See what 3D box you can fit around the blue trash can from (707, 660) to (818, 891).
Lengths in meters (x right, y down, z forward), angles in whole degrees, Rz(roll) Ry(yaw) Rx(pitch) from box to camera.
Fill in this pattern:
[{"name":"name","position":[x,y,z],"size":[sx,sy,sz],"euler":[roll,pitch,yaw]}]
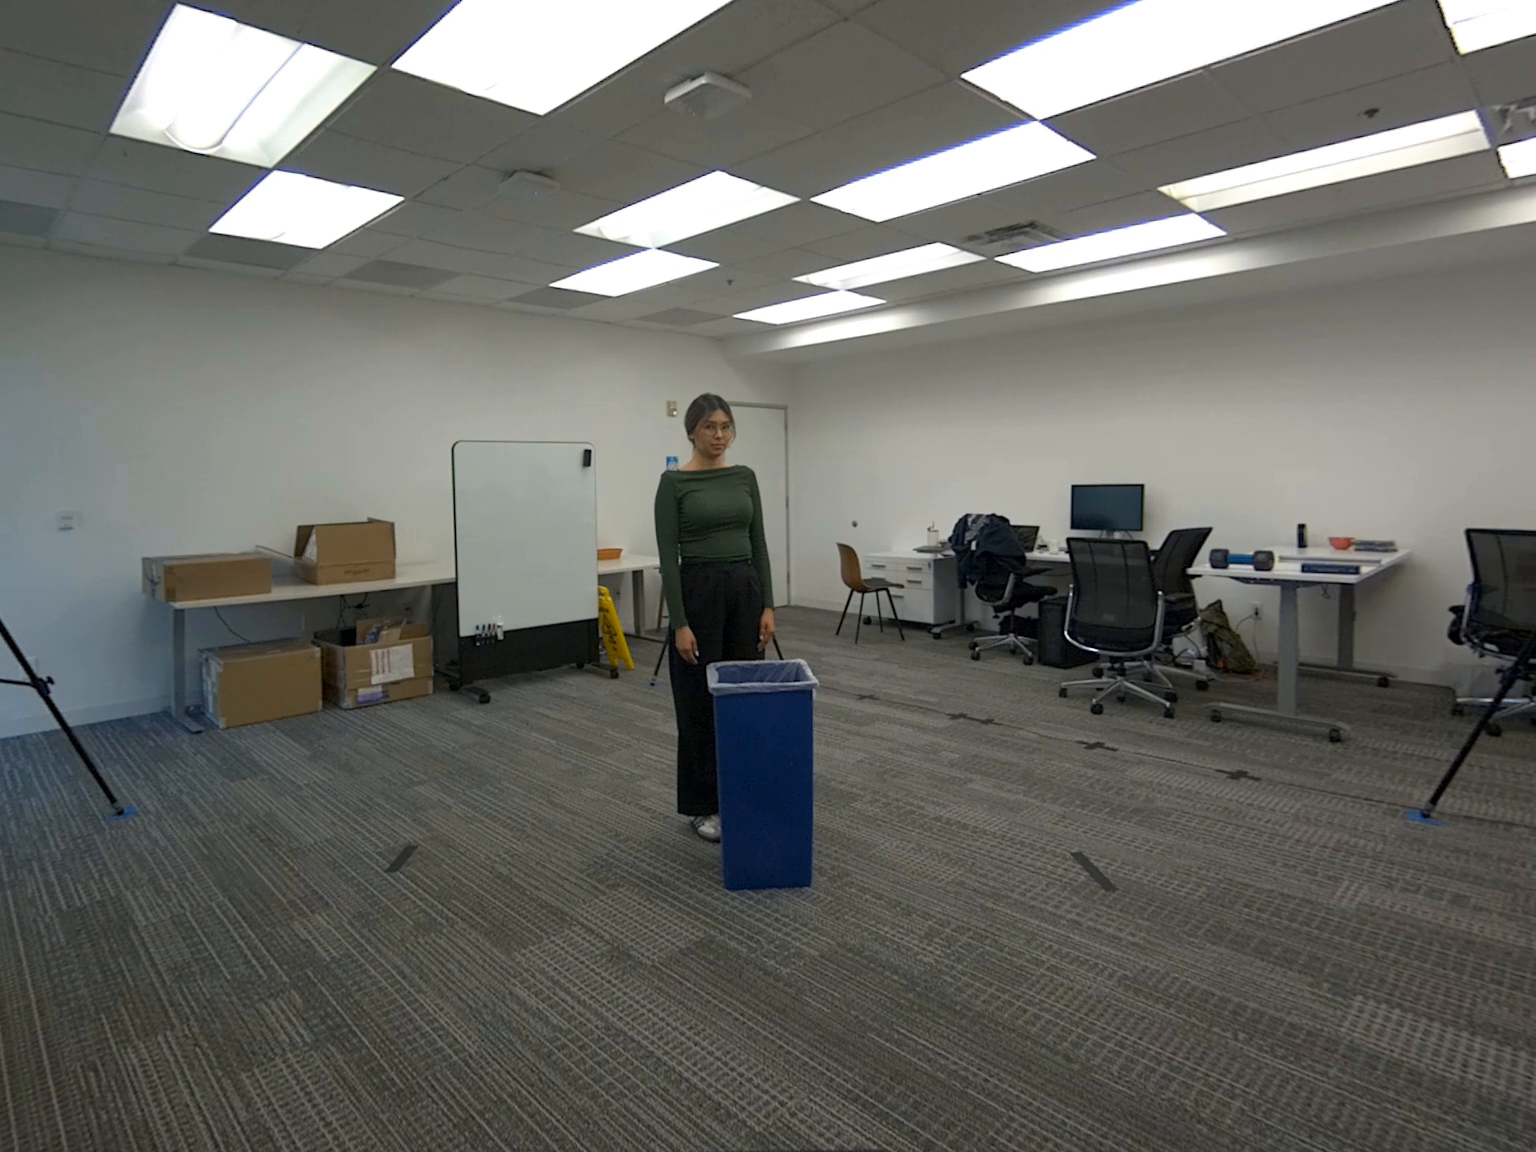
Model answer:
[{"name":"blue trash can","position":[-0.014,0.695,3.033],"size":[0.377,0.711,0.376],"euler":[-2,3,-4]}]
